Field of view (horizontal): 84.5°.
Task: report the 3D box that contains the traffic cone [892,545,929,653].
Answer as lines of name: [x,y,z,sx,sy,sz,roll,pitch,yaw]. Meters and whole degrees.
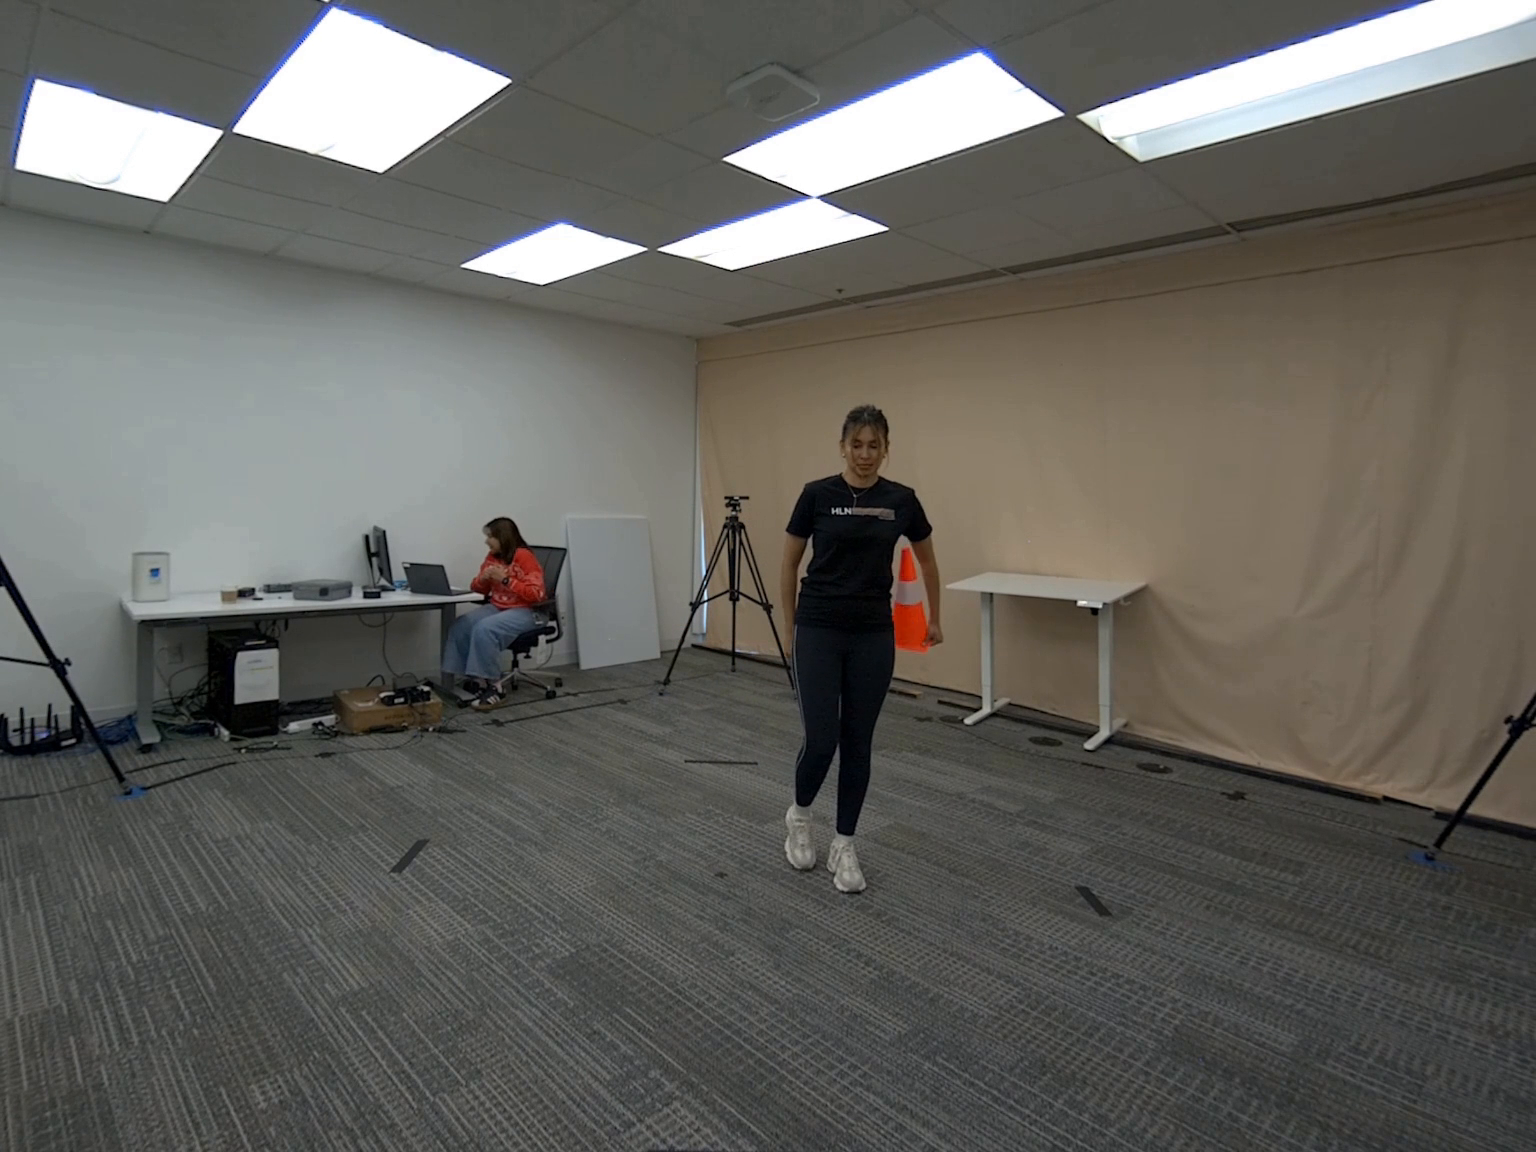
traffic cone: [0.530,0.069,3.232,0.200,0.378,0.211,-22,23,-40]
